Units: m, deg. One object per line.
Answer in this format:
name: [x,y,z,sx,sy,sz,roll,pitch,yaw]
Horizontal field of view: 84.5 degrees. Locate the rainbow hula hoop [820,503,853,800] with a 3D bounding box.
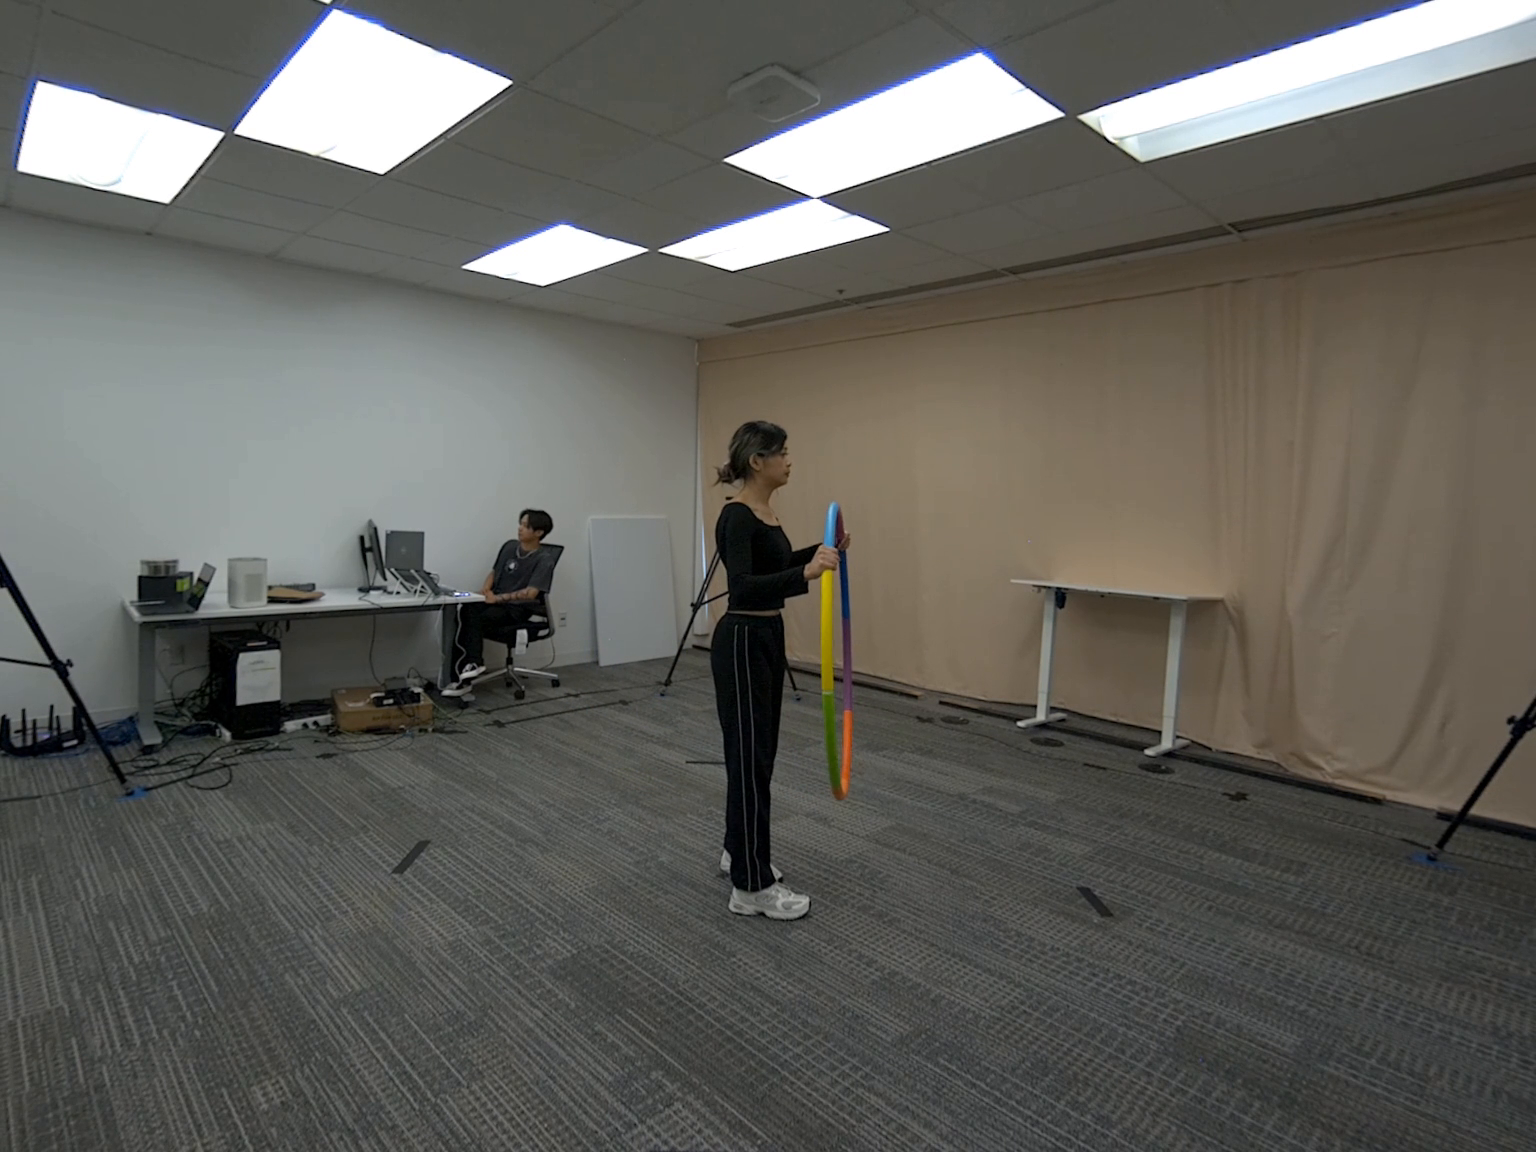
rainbow hula hoop: [0.232,0.249,2.865,0.036,0.976,0.974,-1,4,8]
